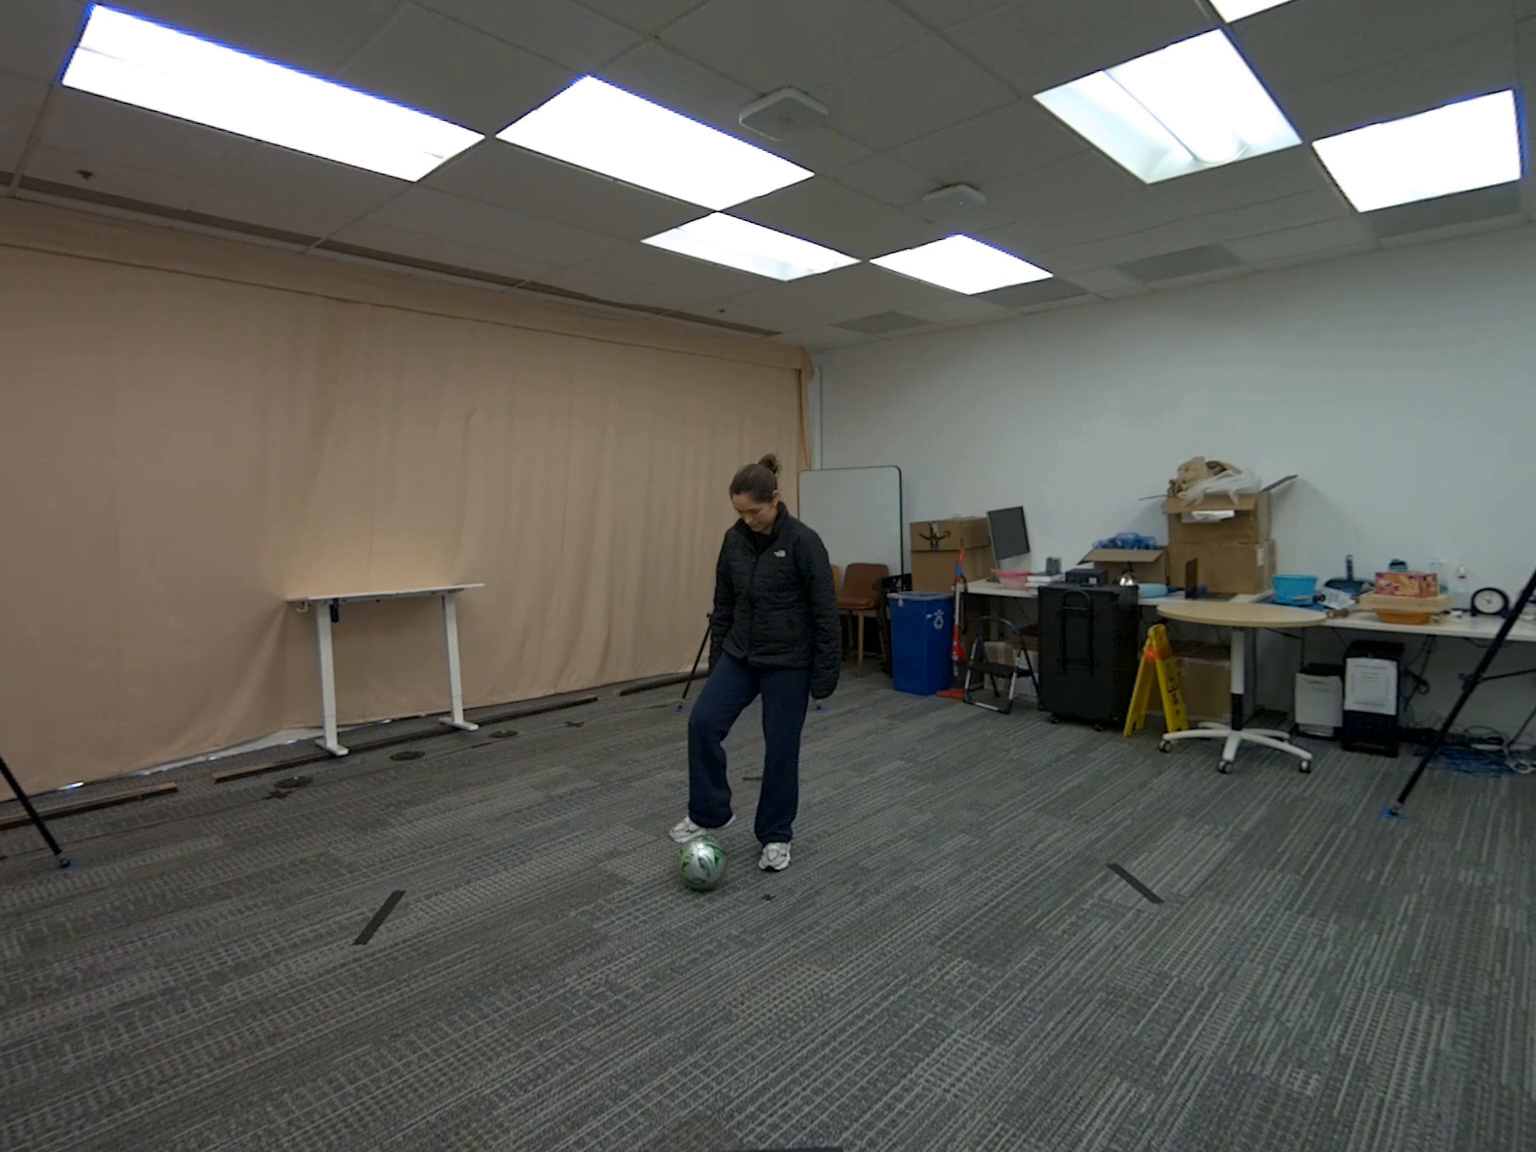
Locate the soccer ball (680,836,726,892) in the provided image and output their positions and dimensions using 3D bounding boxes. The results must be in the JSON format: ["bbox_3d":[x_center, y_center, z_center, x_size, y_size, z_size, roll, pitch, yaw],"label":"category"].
[{"bbox_3d":[-0.241,1.040,3.073,0.187,0.187,0.188,-1,4,-2],"label":"soccer ball"}]
